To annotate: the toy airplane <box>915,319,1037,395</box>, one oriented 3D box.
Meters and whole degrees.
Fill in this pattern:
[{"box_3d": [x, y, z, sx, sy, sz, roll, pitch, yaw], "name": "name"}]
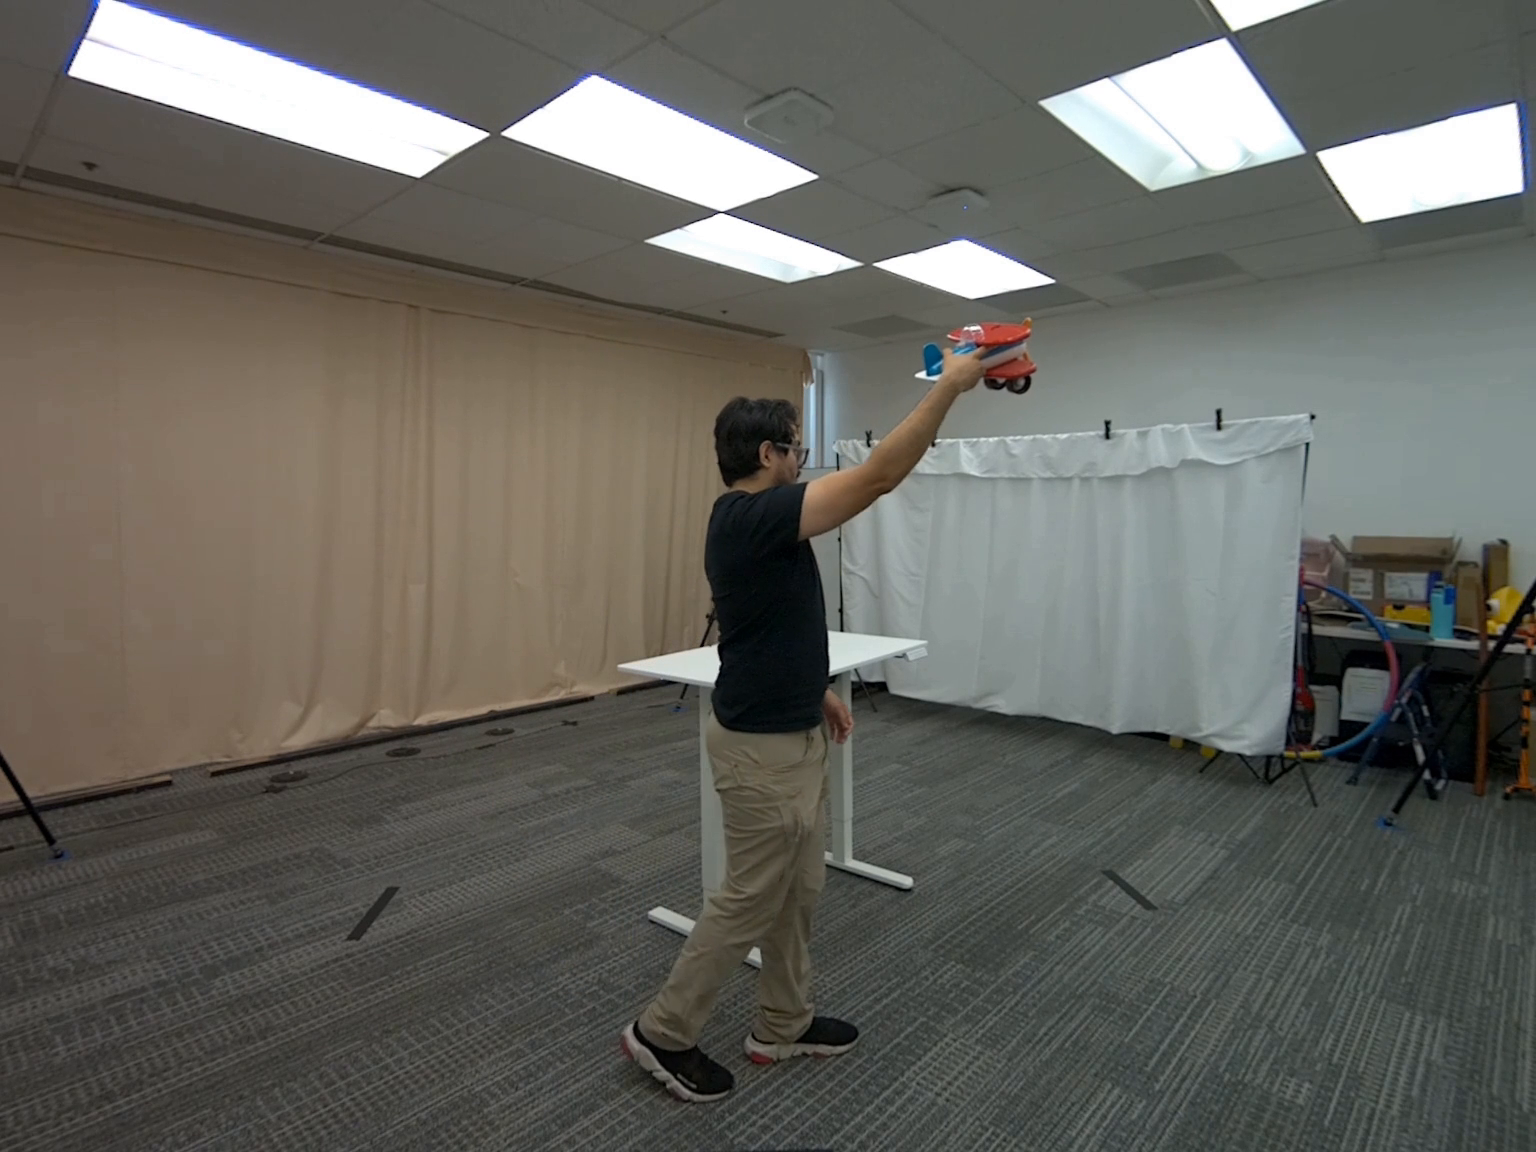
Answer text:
[{"box_3d": [0.495, -0.485, 1.897, 0.260, 0.154, 0.253, 14, 27, 42], "name": "toy airplane"}]
